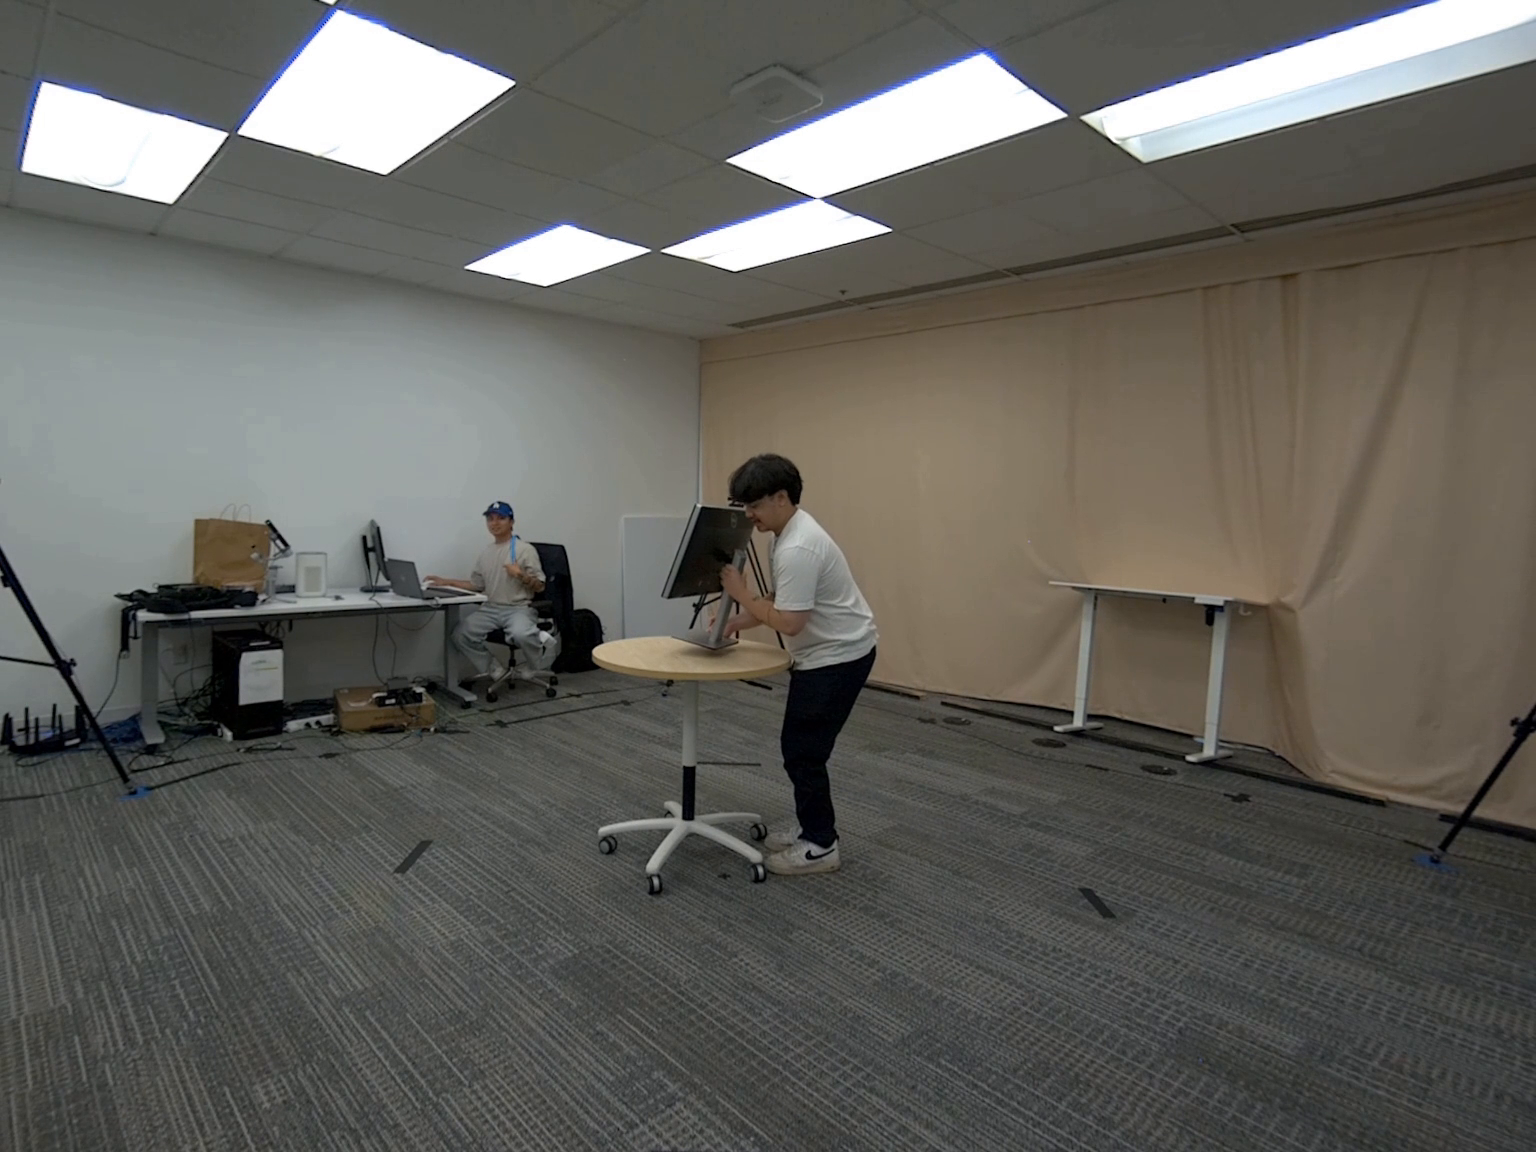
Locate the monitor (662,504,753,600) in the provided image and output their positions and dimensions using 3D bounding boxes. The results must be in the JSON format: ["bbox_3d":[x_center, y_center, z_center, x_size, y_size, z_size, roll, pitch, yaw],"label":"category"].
[{"bbox_3d":[-0.170,0.012,3.227,0.214,0.552,0.556,17,8,21],"label":"monitor"}]
